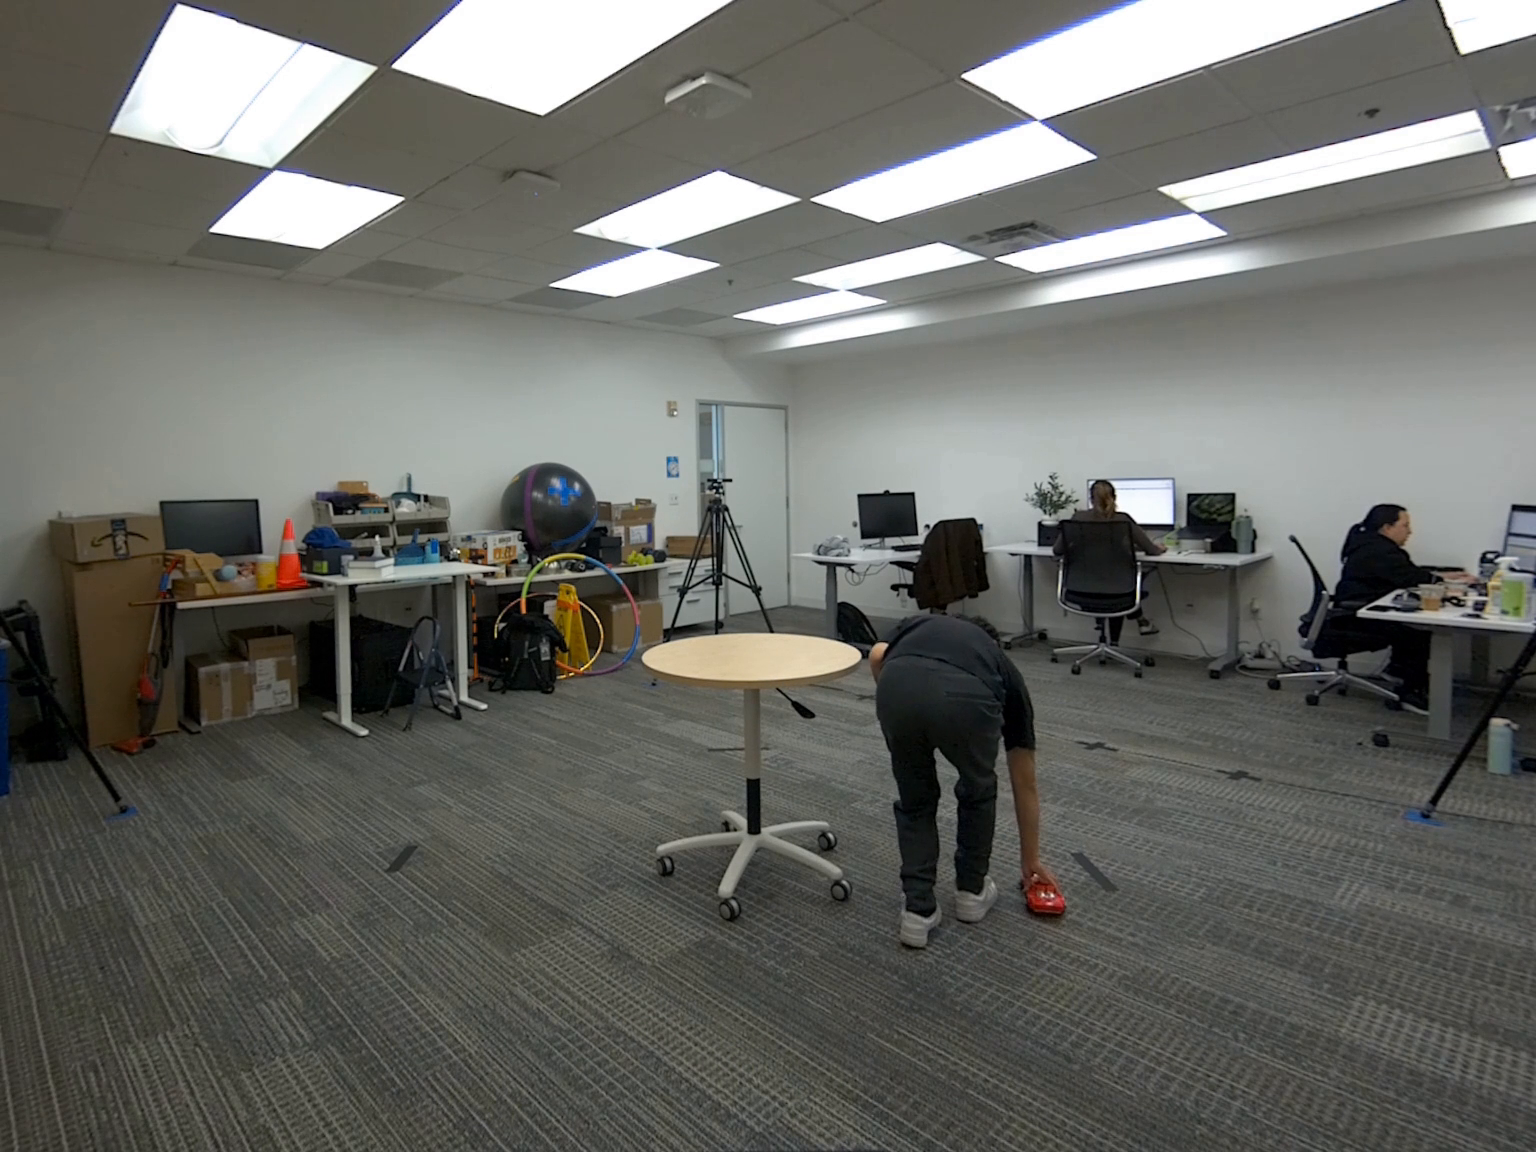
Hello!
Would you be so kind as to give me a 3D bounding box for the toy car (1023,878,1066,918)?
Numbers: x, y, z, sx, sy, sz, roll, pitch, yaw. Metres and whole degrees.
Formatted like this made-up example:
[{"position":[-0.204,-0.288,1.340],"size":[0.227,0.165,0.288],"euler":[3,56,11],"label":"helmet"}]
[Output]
[{"position":[0.887,1.031,2.785],"size":[0.132,0.084,0.250],"euler":[-1,-6,9],"label":"toy car"}]
